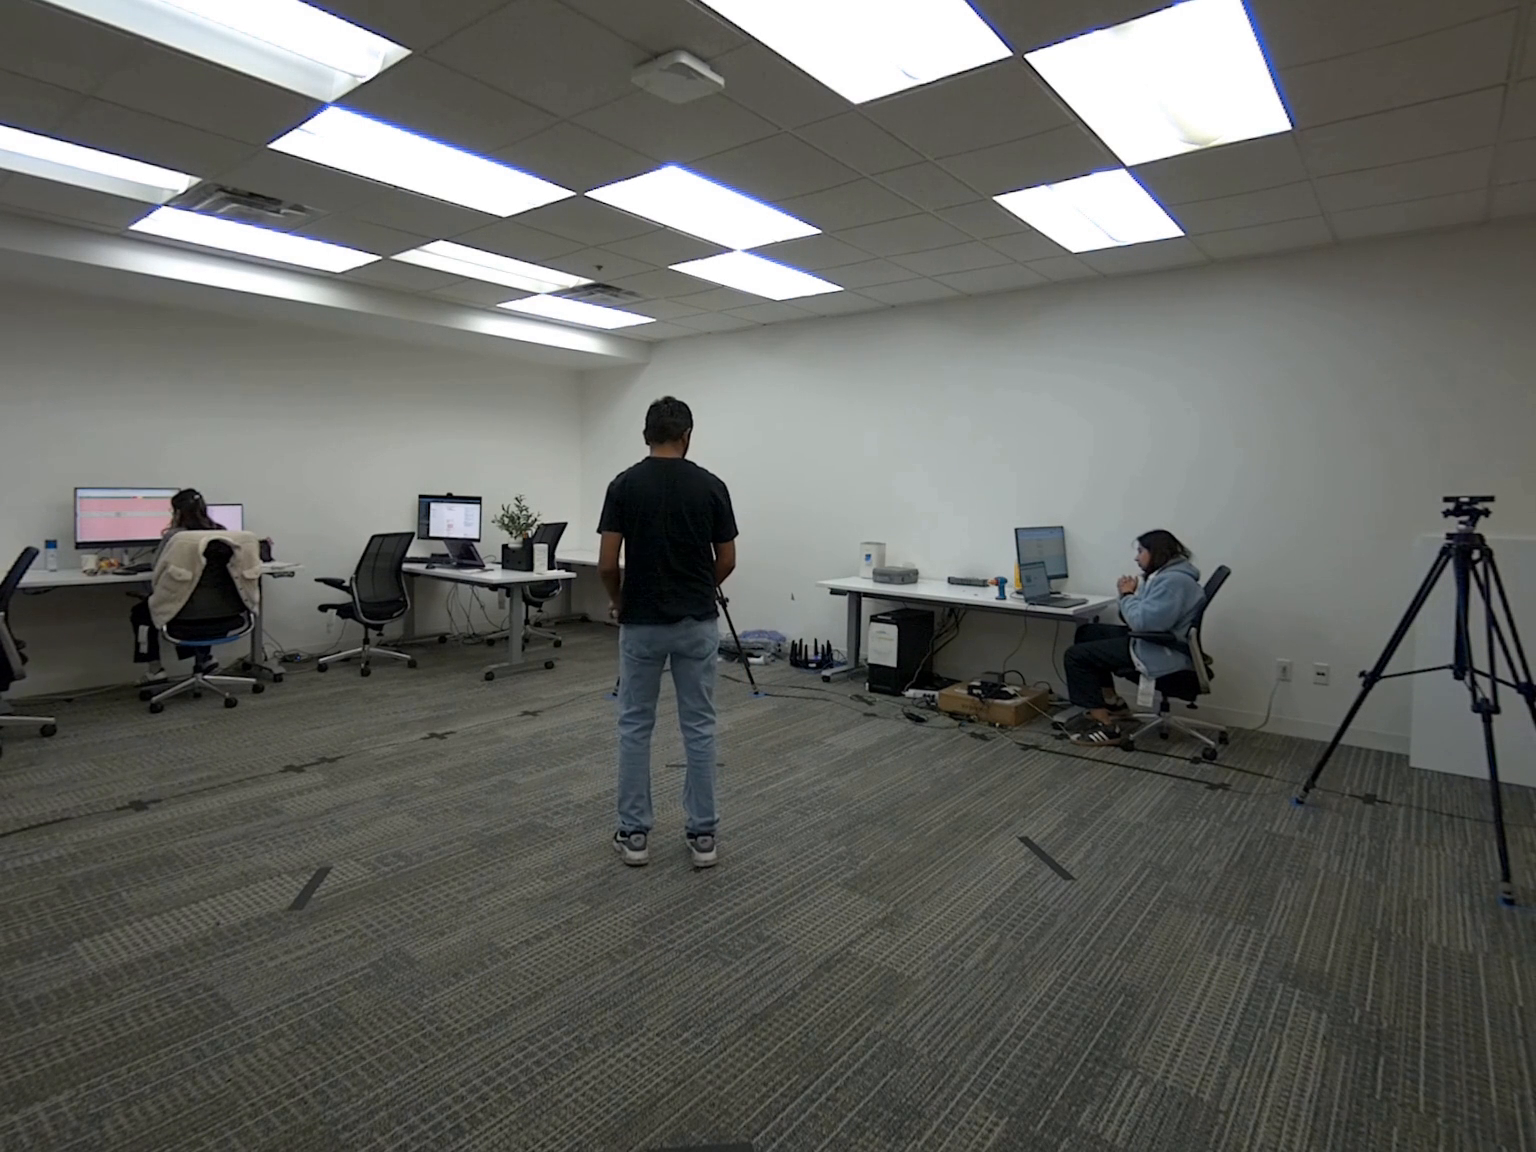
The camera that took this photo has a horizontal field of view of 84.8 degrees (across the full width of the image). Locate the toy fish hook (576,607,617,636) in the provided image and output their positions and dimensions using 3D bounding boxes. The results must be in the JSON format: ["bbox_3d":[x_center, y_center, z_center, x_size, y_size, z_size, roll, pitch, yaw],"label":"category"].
[{"bbox_3d":[-0.573,0.132,3.541,0.227,0.048,0.498,-26,-1,24],"label":"toy fish hook"}]
